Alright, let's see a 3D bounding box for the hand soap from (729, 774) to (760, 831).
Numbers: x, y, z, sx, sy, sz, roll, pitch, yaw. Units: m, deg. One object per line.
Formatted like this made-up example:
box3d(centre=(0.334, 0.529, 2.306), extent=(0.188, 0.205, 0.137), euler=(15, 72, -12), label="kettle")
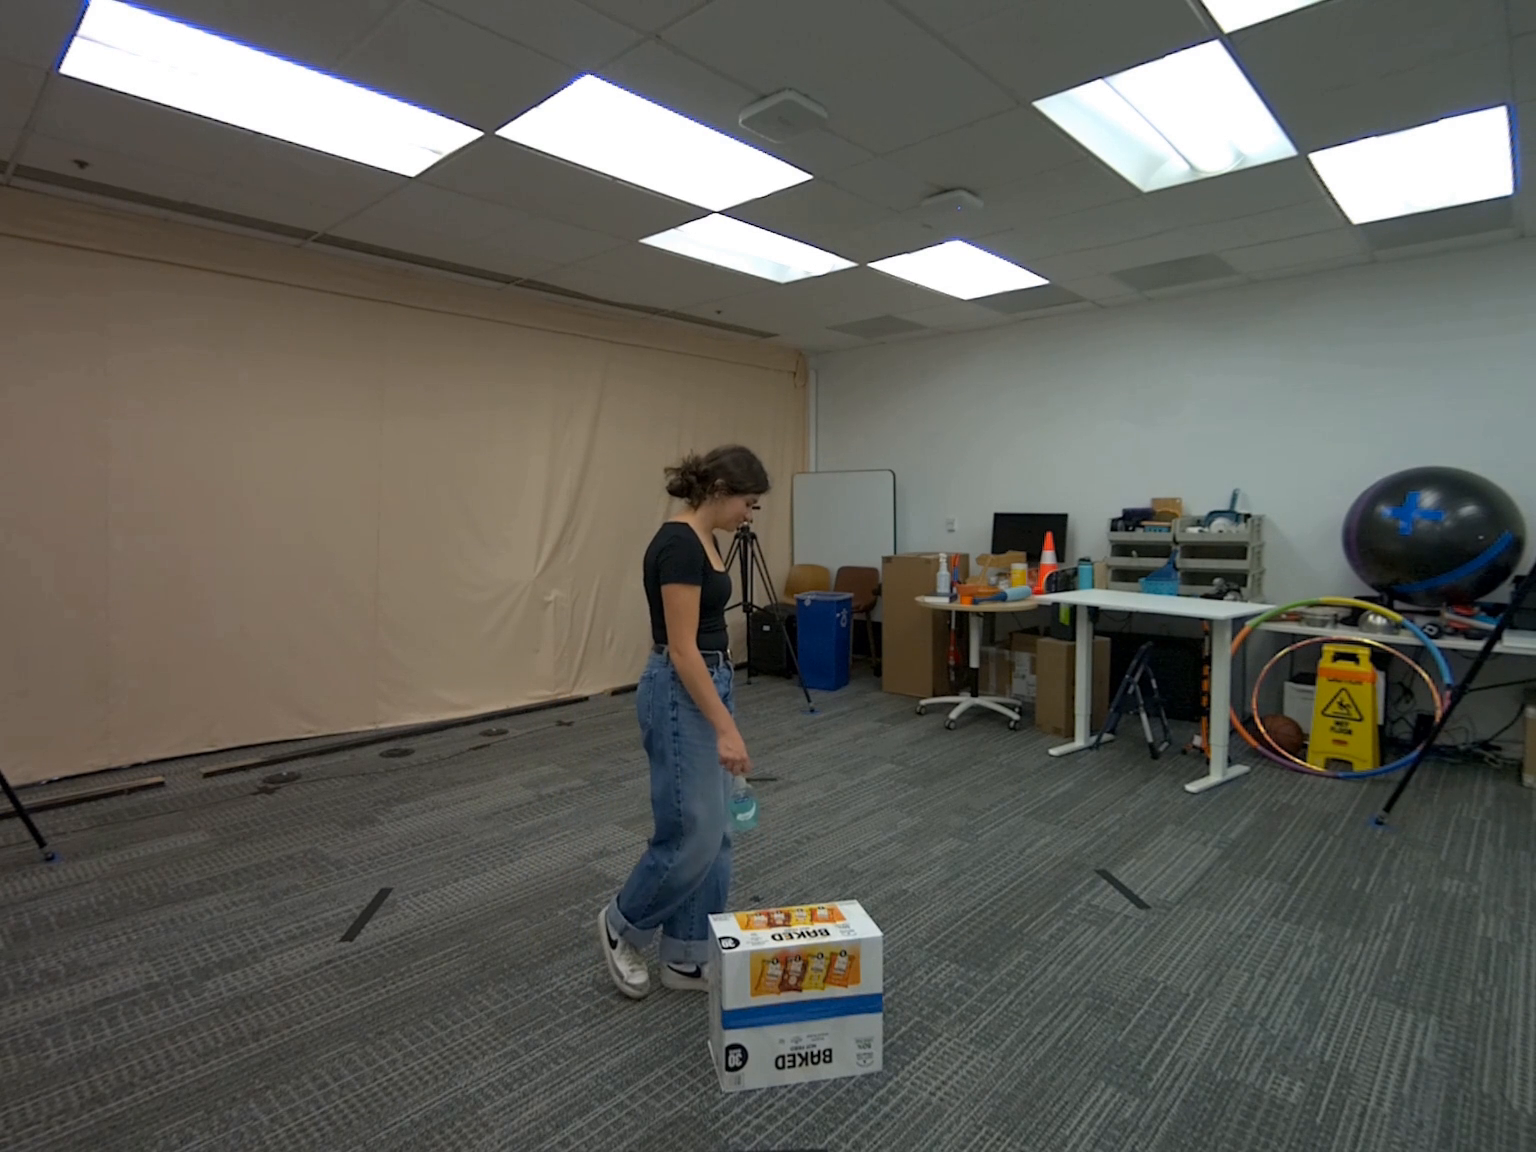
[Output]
box3d(centre=(-0.073, 0.581, 2.203), extent=(0.084, 0.168, 0.044), euler=(-6, 1, -6), label="hand soap")
